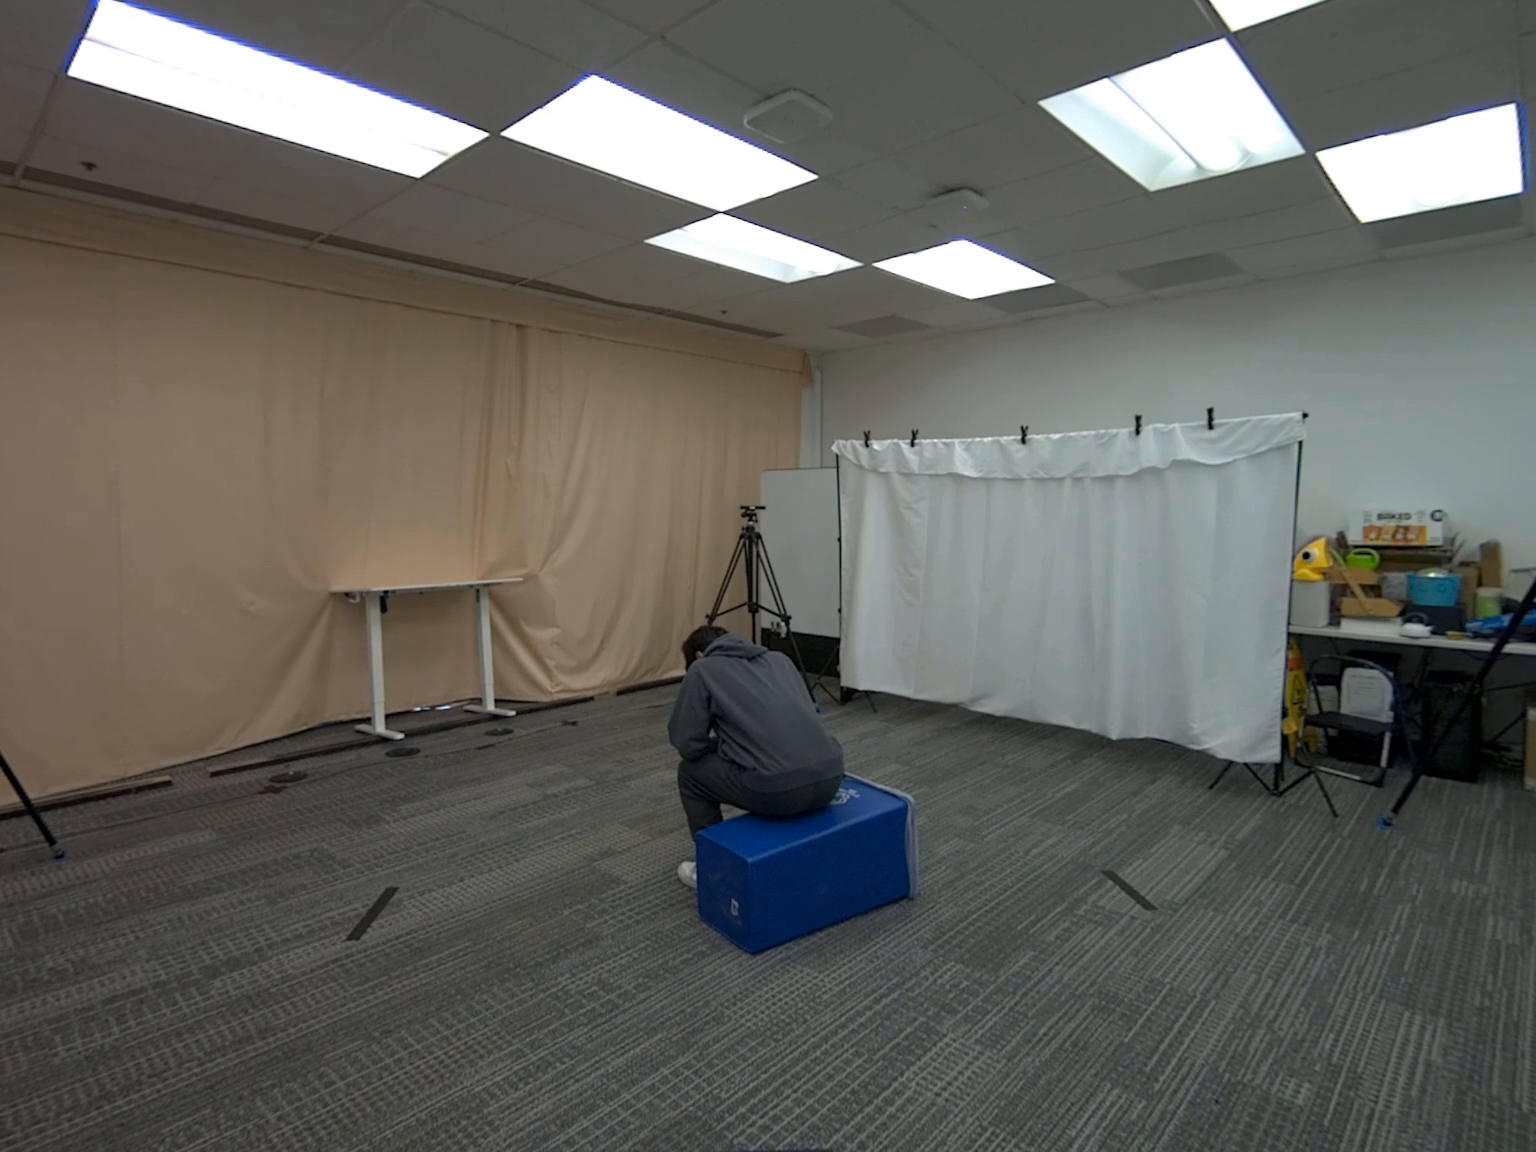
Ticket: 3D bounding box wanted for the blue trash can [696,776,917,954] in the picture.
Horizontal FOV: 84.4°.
[{"bbox_3d":[0.145,0.982,2.900,0.693,0.376,0.386,-7,8,-37],"label":"blue trash can"}]
